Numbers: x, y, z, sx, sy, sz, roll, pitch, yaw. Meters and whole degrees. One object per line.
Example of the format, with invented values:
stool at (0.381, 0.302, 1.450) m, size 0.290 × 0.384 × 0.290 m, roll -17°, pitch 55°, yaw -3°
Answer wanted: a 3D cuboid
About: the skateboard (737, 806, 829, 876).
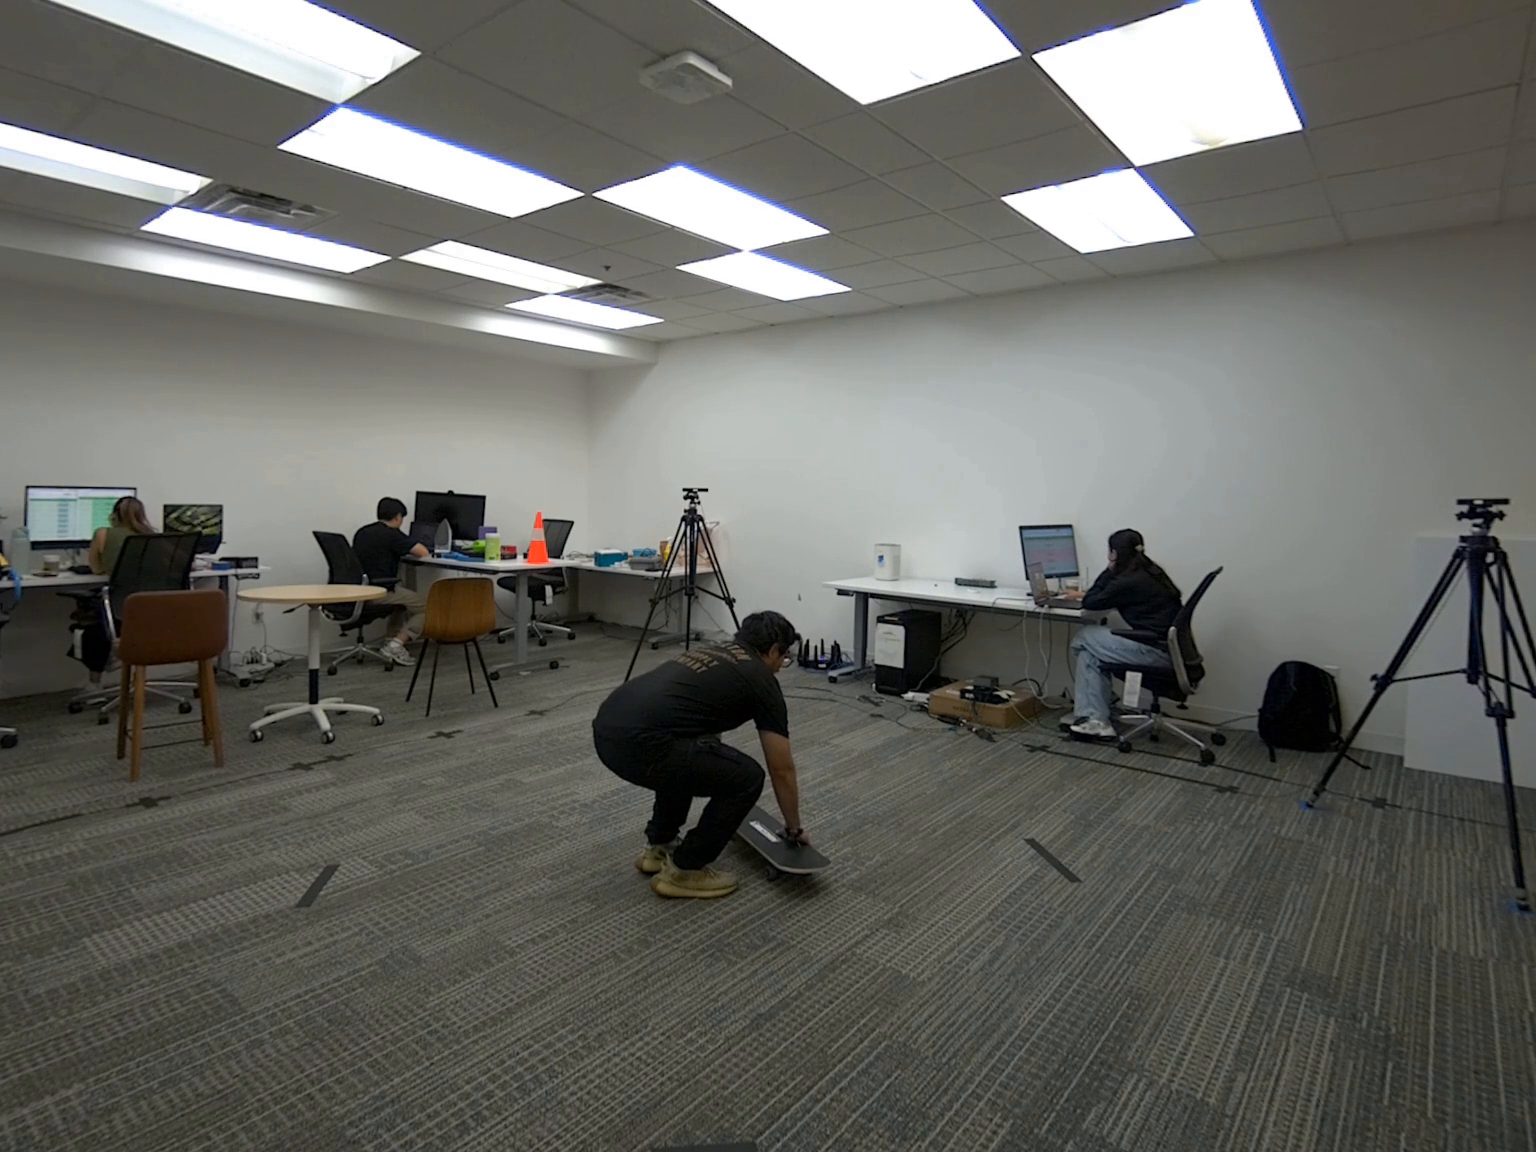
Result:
skateboard at (-0.022, 0.999, 3.256) m, size 0.189 × 0.110 × 0.809 m, roll -2°, pitch 7°, yaw -28°
